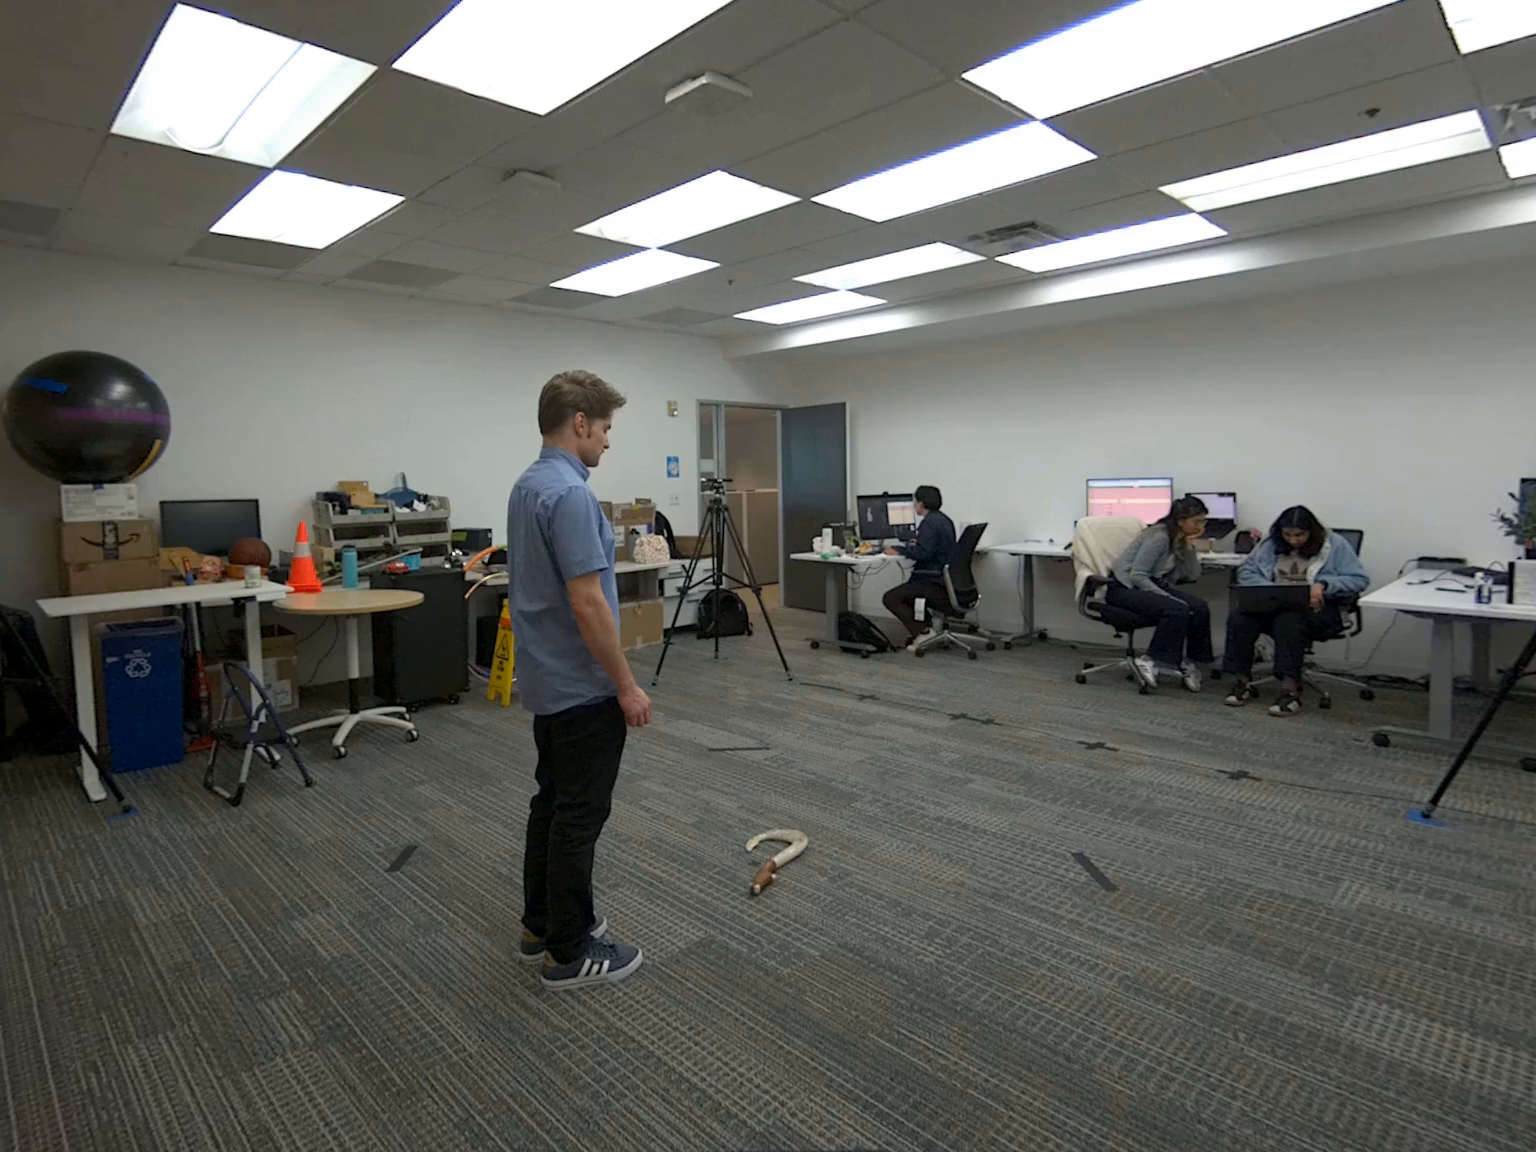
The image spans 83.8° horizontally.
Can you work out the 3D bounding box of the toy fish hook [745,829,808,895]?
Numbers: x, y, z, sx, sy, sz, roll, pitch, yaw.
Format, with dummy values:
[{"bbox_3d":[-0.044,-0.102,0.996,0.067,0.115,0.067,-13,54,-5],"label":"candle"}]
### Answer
[{"bbox_3d":[-0.009,1.030,3.100,0.228,0.048,0.498,-7,3,21],"label":"toy fish hook"}]
